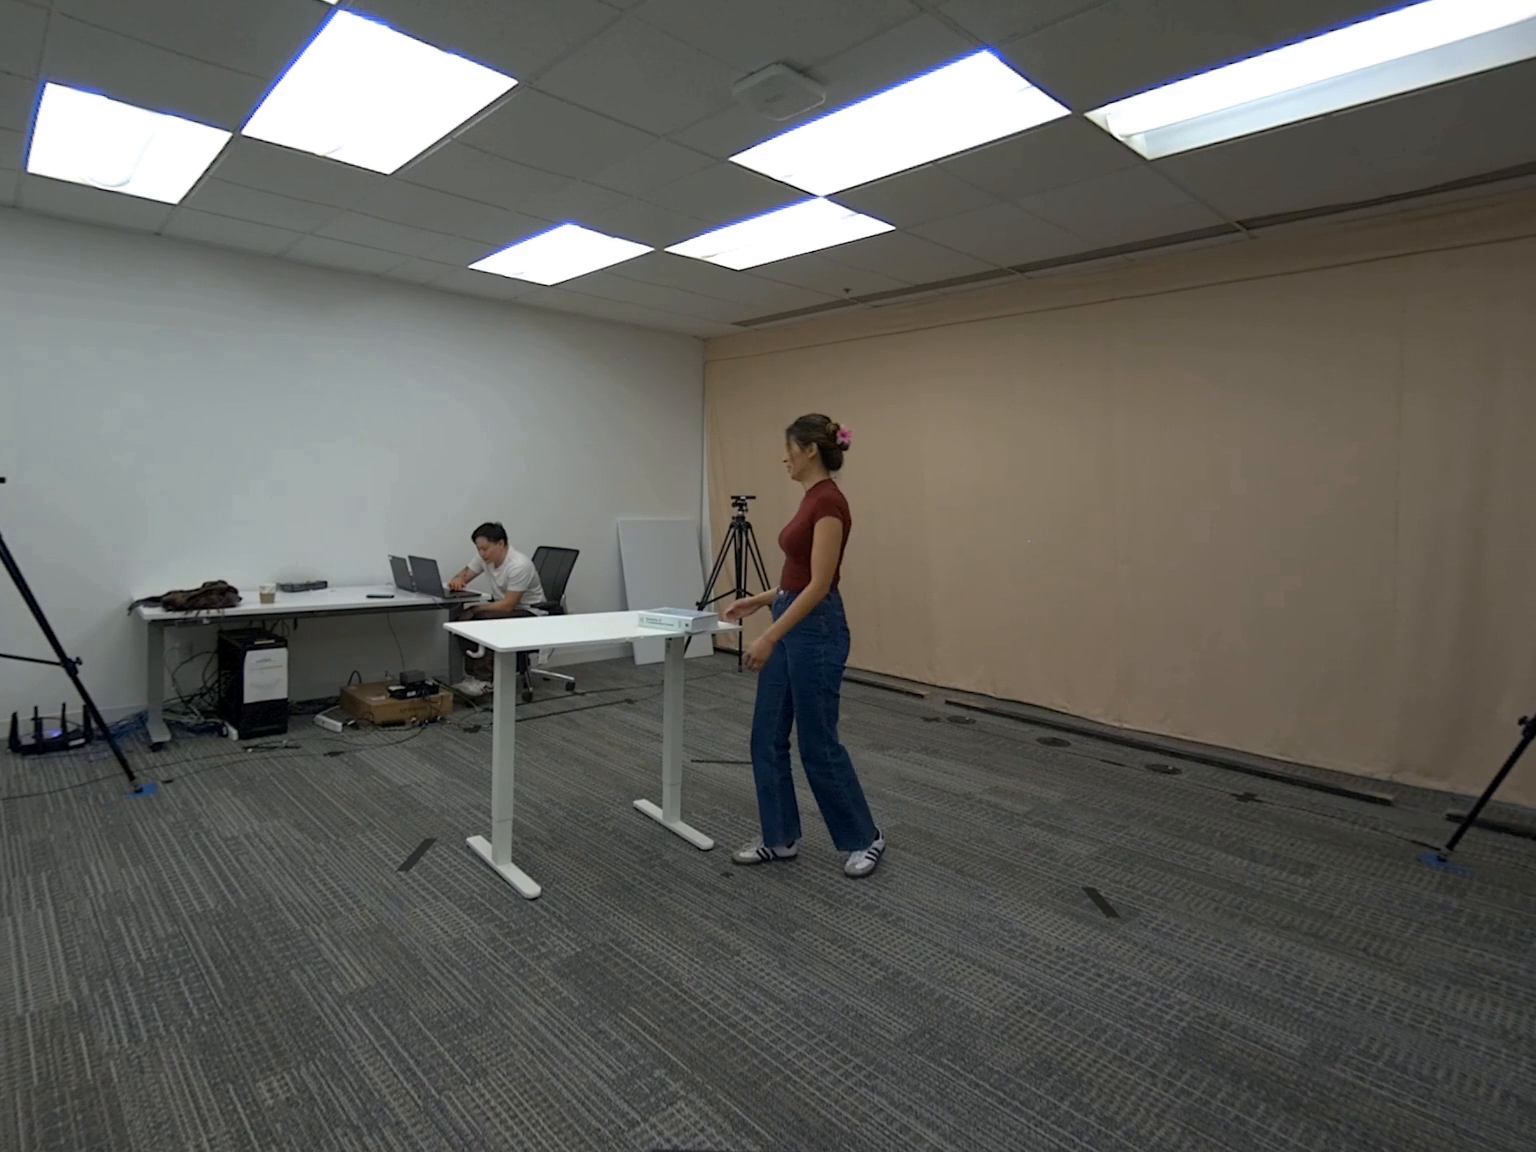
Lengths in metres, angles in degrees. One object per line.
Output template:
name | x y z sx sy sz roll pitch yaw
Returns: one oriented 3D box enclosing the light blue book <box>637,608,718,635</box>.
light blue book | -0.356 0.169 3.301 0.267 0.059 0.187 4 6 32
